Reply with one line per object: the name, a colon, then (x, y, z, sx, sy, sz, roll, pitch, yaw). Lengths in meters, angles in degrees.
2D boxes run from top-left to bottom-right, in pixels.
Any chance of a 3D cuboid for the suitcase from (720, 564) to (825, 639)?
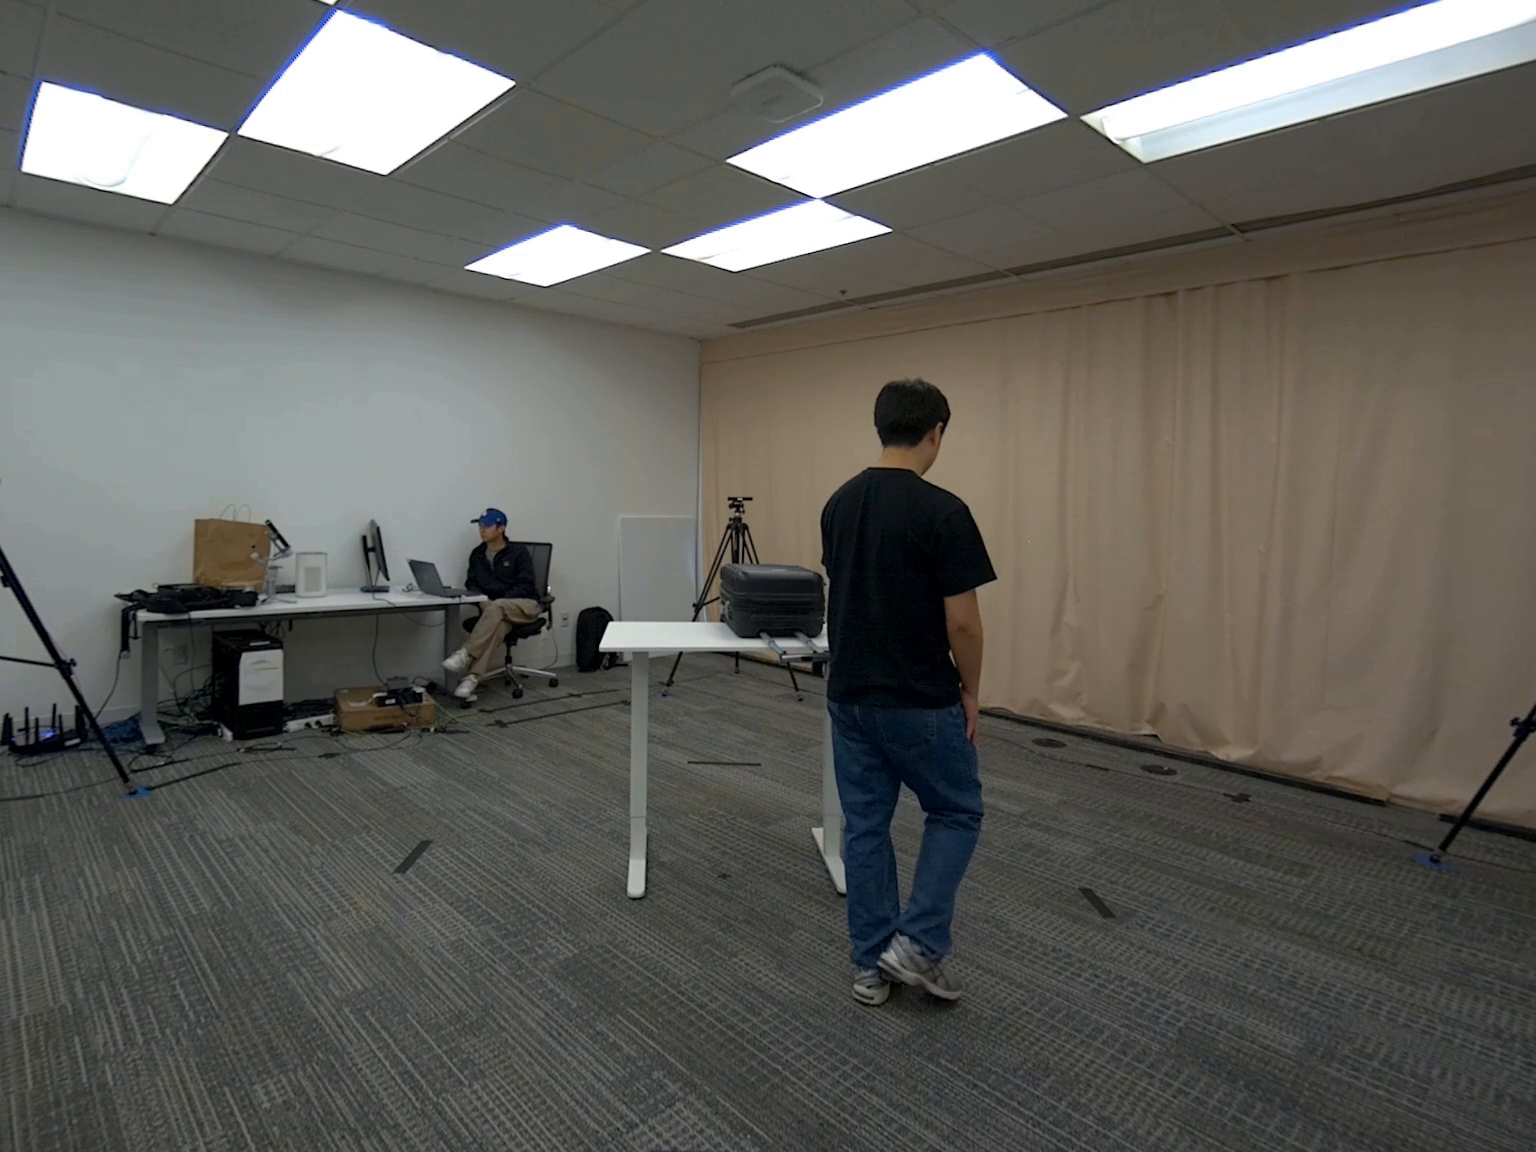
suitcase: (0.031, 0.108, 3.100, 0.381, 0.257, 0.986, 1, 3, -9)
